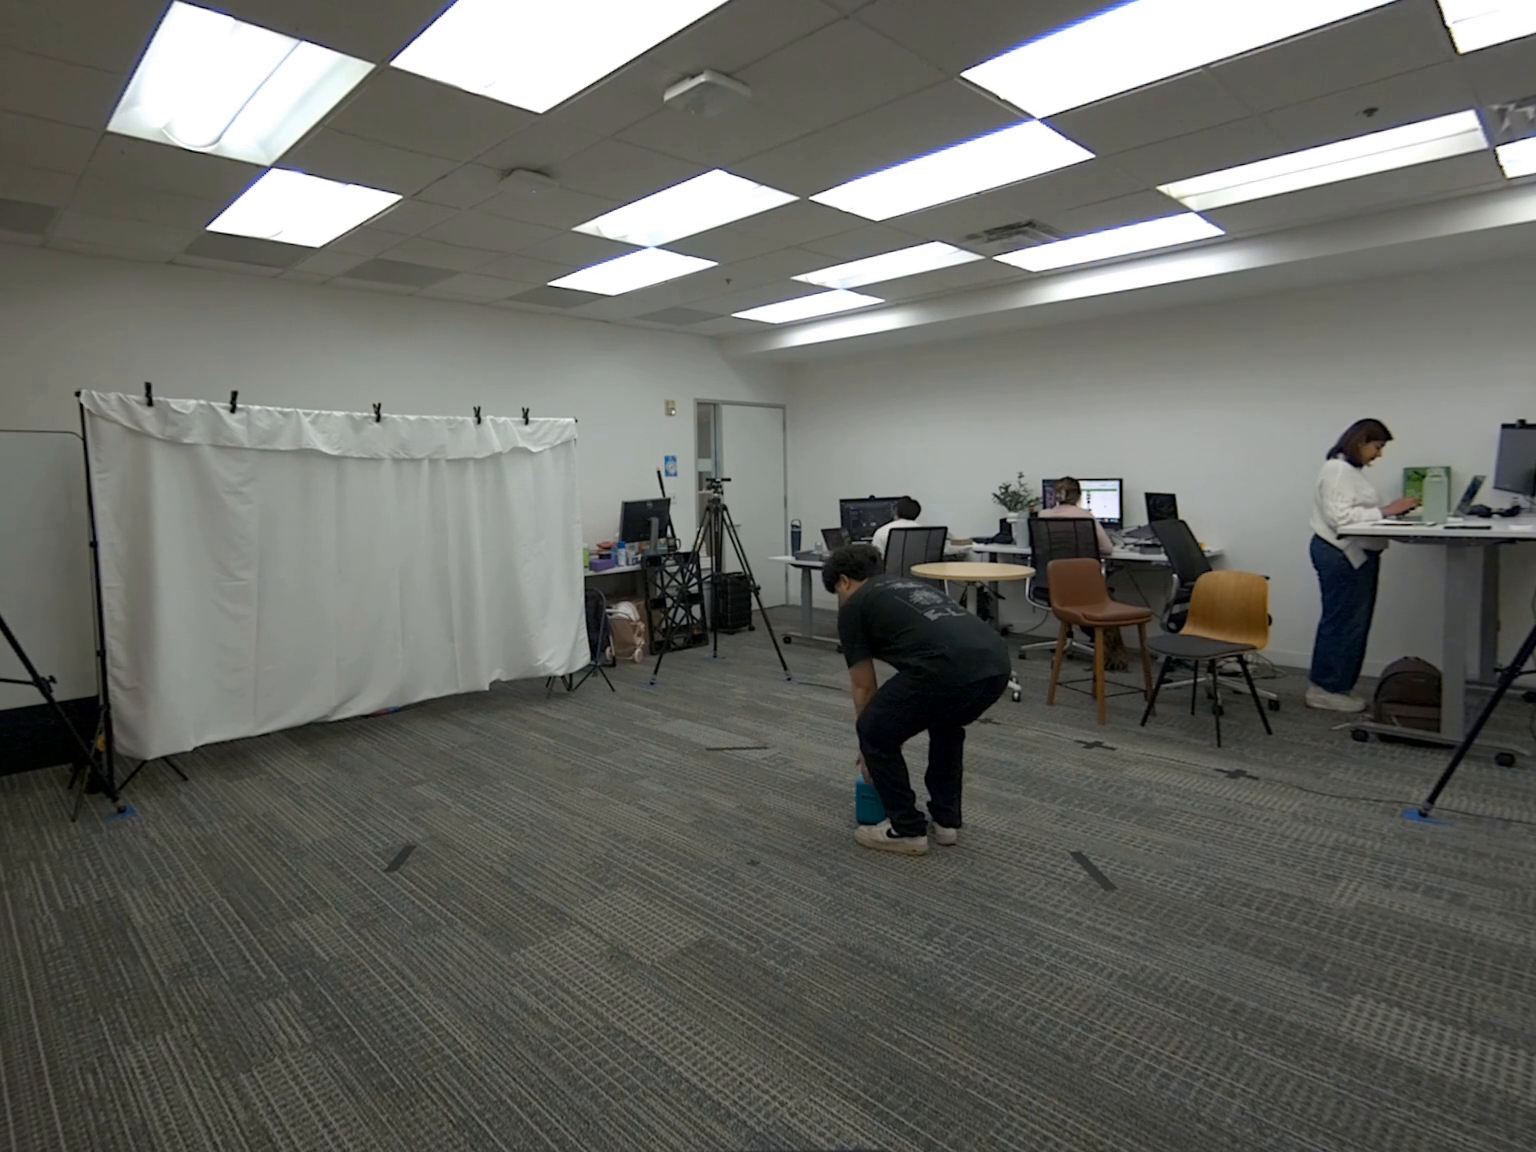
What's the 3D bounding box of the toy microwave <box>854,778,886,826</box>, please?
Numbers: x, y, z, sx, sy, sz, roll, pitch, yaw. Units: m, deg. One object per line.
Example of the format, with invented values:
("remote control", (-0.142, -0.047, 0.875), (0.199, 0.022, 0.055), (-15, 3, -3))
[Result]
("toy microwave", (0.453, 0.895, 3.534), (0.155, 0.183, 0.282), (2, 7, 21))
